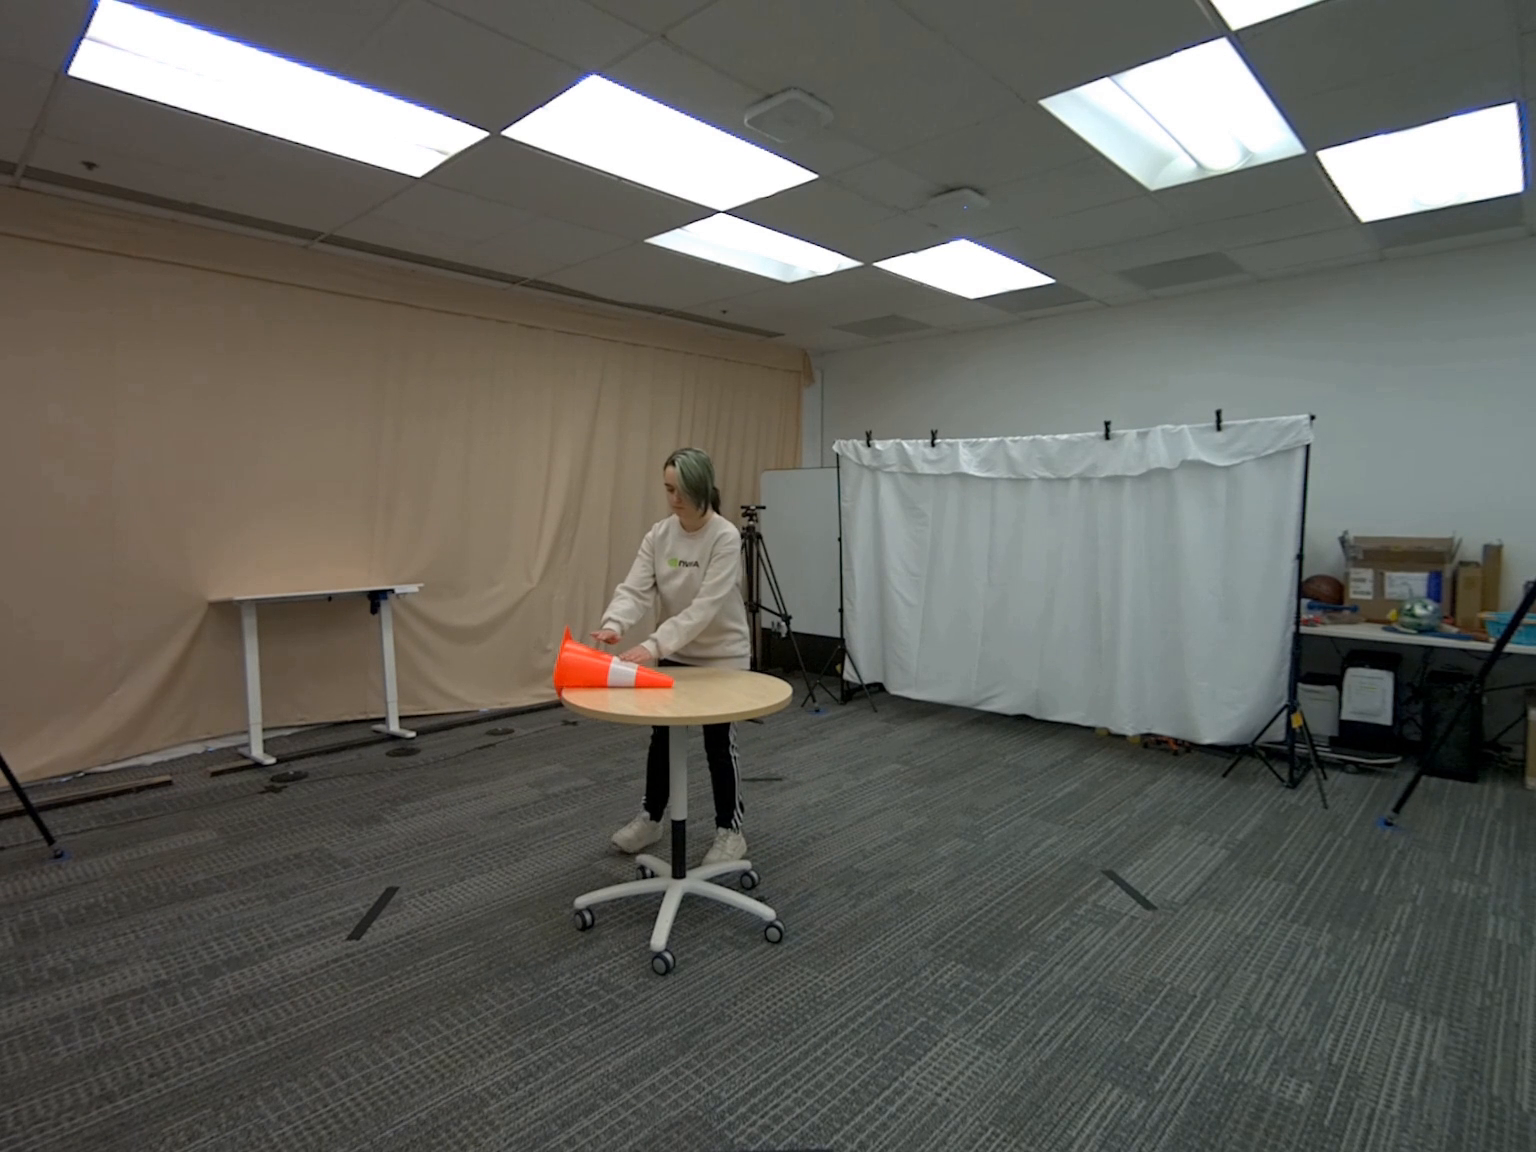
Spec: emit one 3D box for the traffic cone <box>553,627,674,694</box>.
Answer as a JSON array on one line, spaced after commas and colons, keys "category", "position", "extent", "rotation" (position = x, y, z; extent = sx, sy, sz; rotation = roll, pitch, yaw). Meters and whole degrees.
[{"category": "traffic cone", "position": [-0.505, 0.336, 2.836], "extent": [0.386, 0.207, 0.200], "rotation": [12, -35, 5]}]
